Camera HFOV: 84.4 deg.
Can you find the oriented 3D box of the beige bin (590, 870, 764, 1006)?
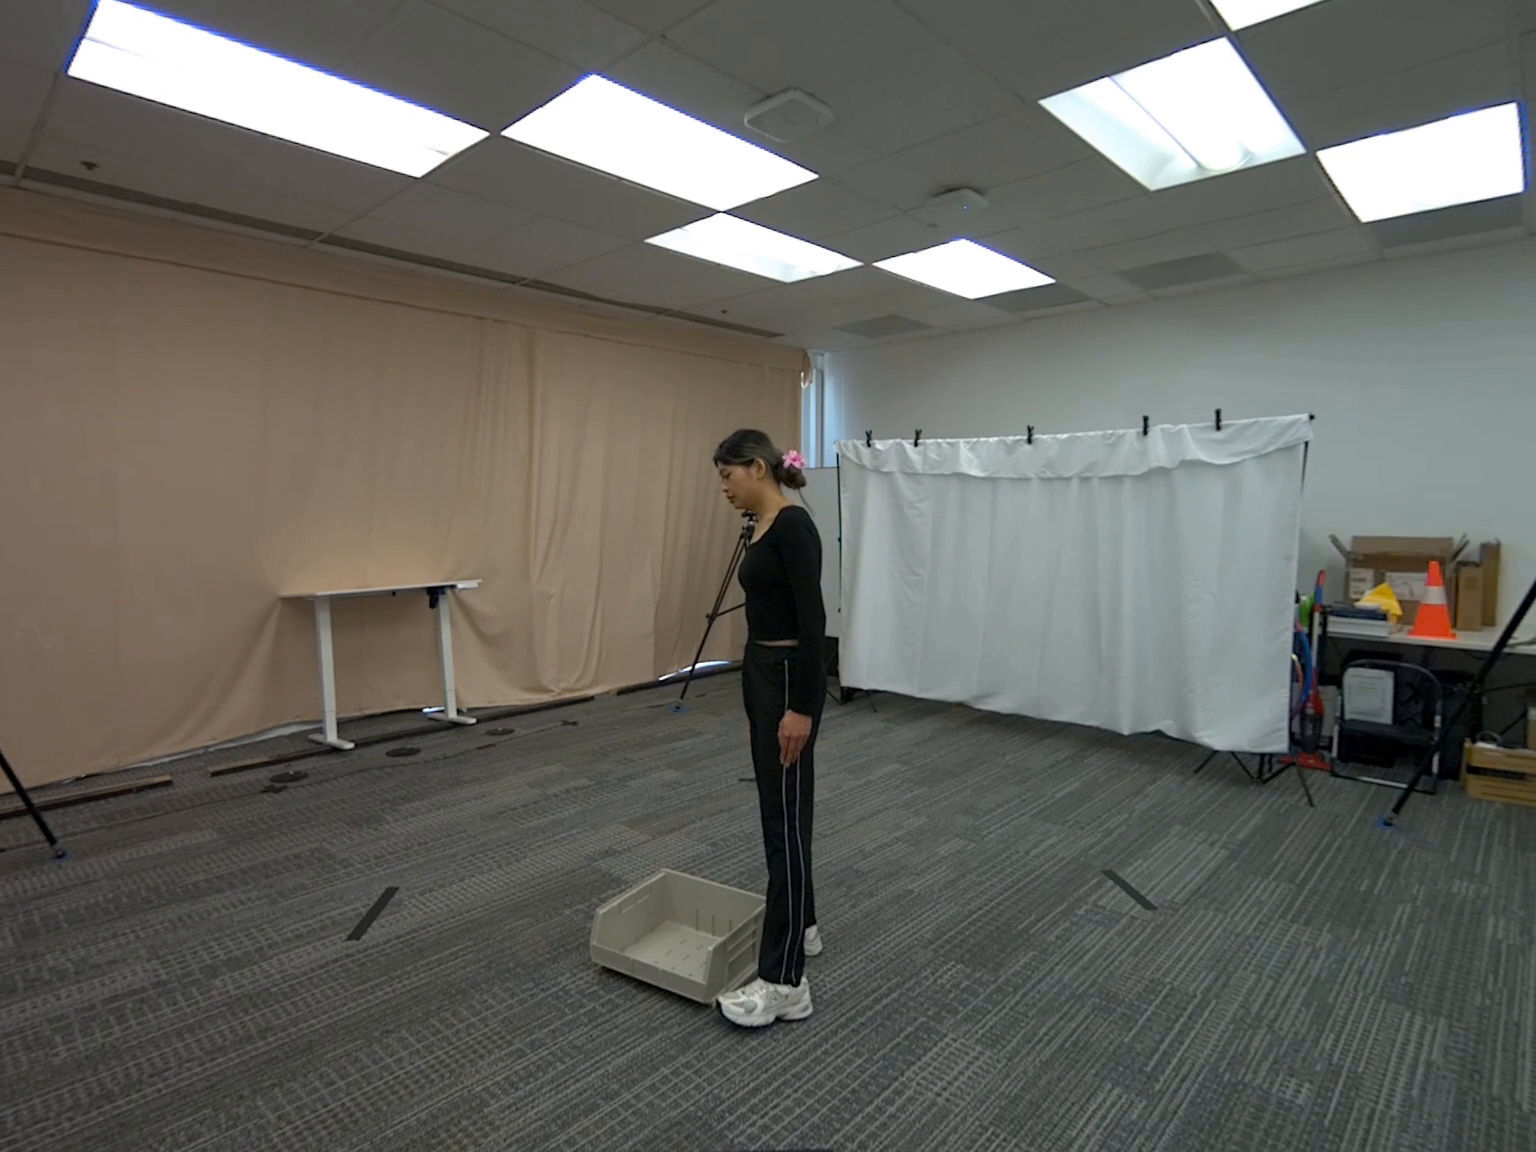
[{"bbox_3d":[-0.263,1.094,2.555,0.435,0.188,0.367,3,4,32],"label":"beige bin"}]
